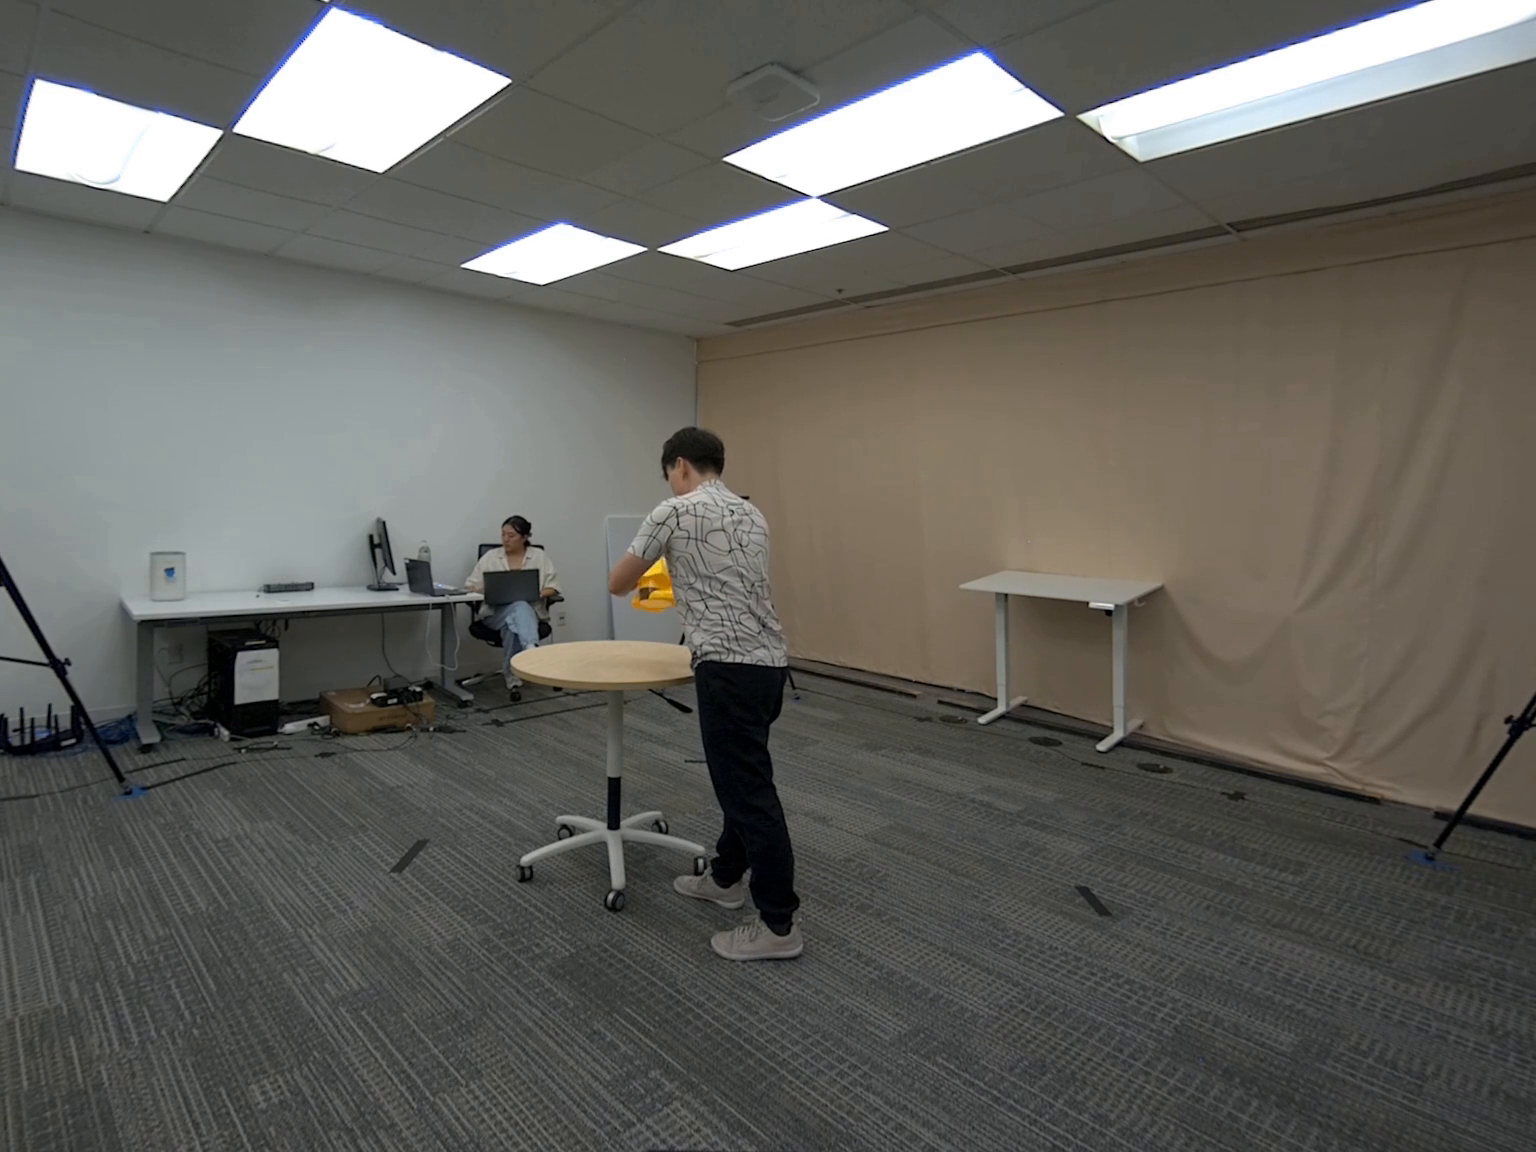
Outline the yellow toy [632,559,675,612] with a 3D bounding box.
[{"bbox_3d":[-0.404,-0.009,3.098,0.208,0.233,0.187,-14,-21,37],"label":"yellow toy"}]
